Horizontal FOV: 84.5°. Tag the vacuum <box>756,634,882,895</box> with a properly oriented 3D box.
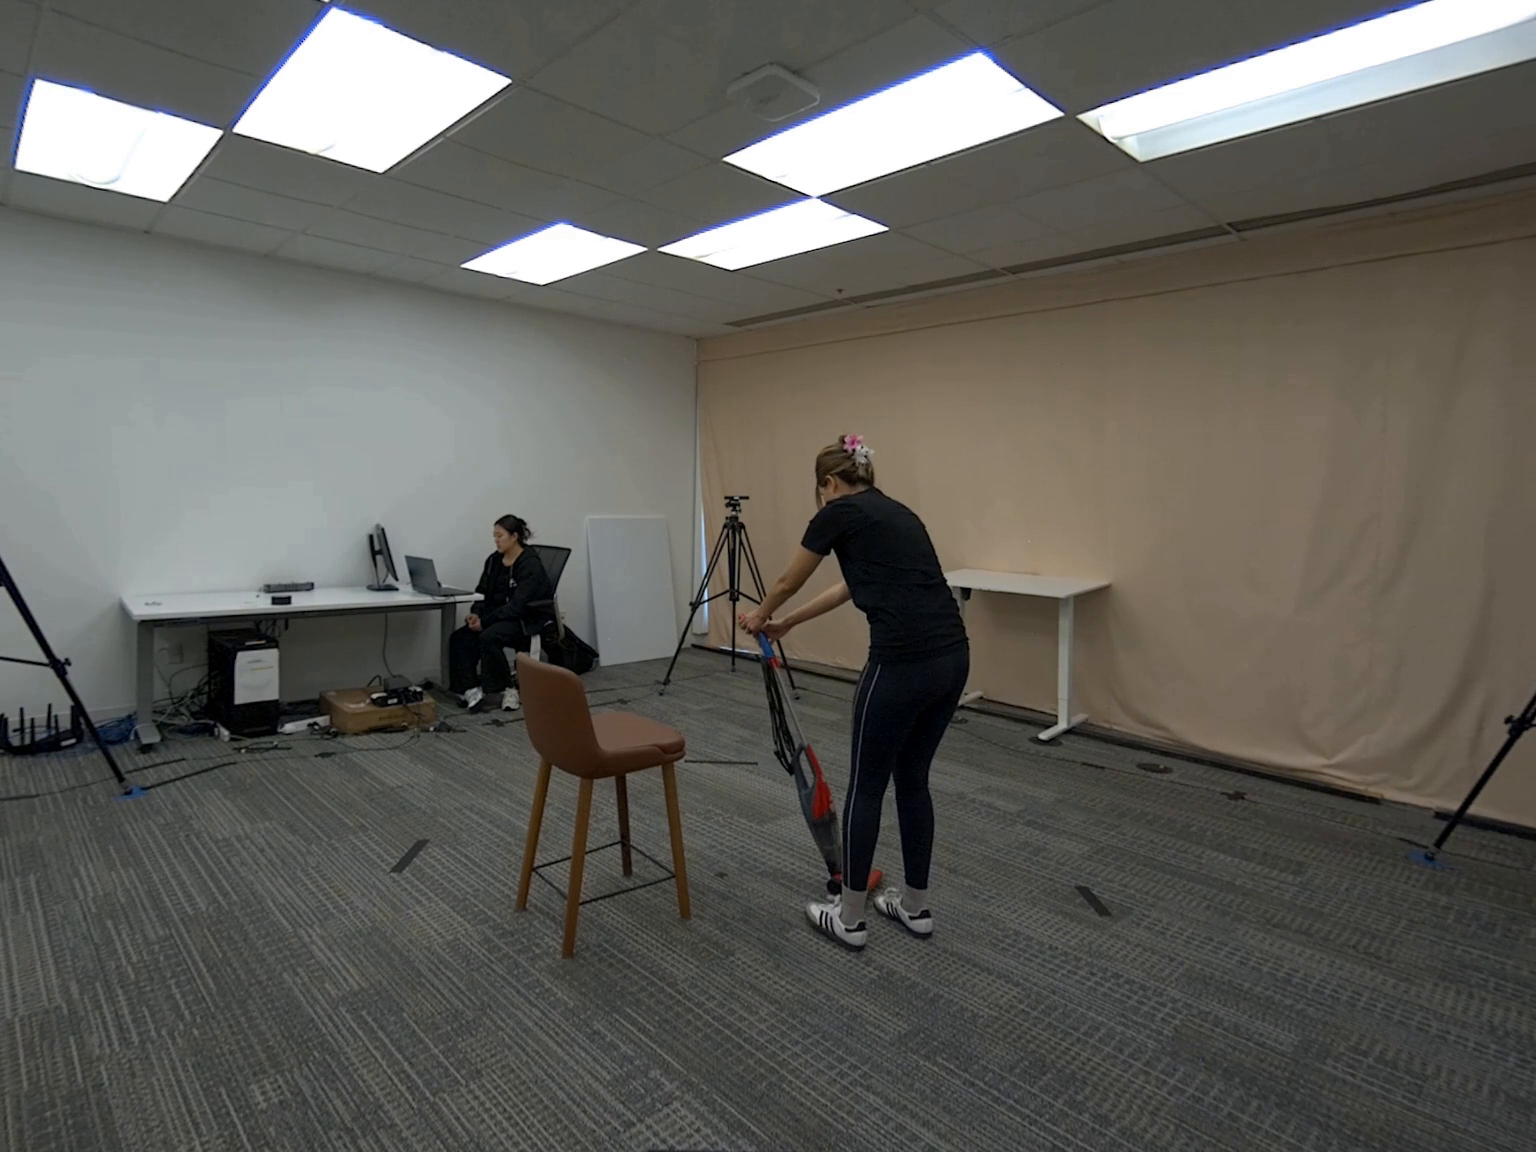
[{"bbox_3d":[0.092,0.635,3.101,0.145,1.061,0.248,-29,-12,28],"label":"vacuum"}]
